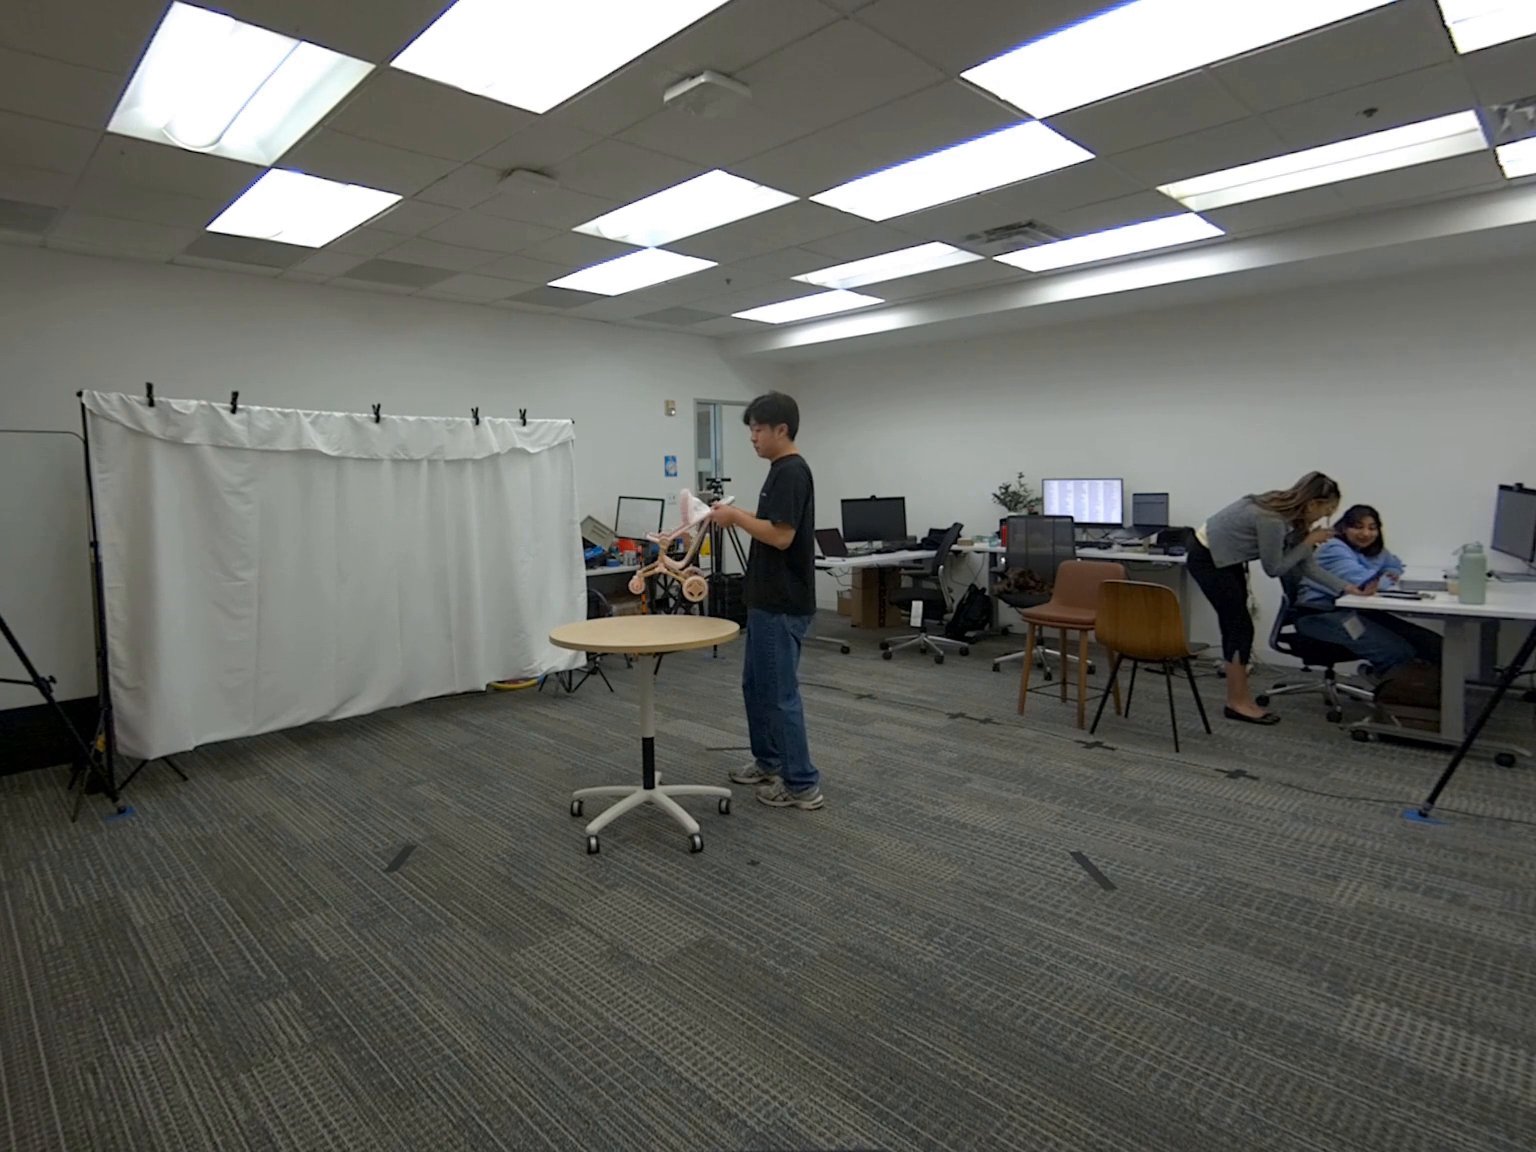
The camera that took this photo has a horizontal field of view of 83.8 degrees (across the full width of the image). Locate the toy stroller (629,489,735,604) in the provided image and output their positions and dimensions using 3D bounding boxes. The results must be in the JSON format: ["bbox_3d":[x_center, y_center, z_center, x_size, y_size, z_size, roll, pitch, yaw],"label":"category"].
[{"bbox_3d":[-0.380,-0.142,3.755,0.340,0.533,0.283,16,5,-3],"label":"toy stroller"}]
